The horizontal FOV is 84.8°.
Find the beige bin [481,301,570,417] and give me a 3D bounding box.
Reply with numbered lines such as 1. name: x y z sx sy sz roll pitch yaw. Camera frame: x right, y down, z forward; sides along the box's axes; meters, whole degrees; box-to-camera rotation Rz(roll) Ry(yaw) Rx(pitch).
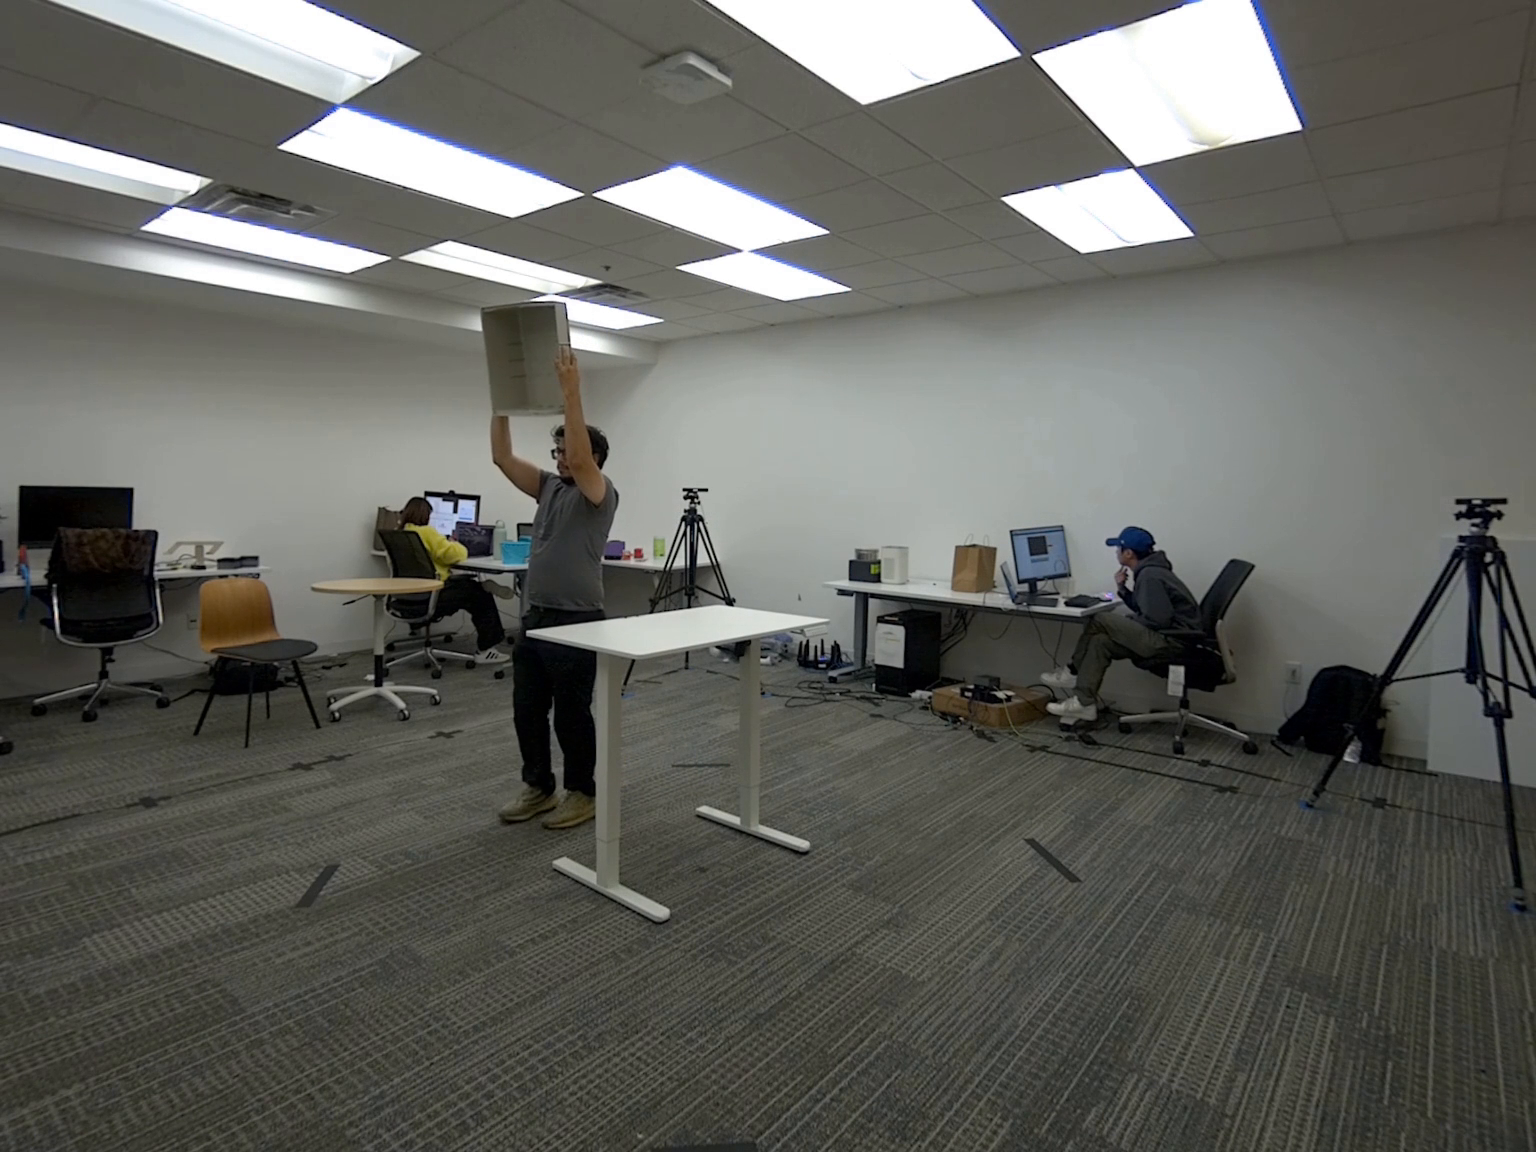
1. beige bin: -0.937 -0.844 3.293 0.391 0.416 0.185 10 19 42
